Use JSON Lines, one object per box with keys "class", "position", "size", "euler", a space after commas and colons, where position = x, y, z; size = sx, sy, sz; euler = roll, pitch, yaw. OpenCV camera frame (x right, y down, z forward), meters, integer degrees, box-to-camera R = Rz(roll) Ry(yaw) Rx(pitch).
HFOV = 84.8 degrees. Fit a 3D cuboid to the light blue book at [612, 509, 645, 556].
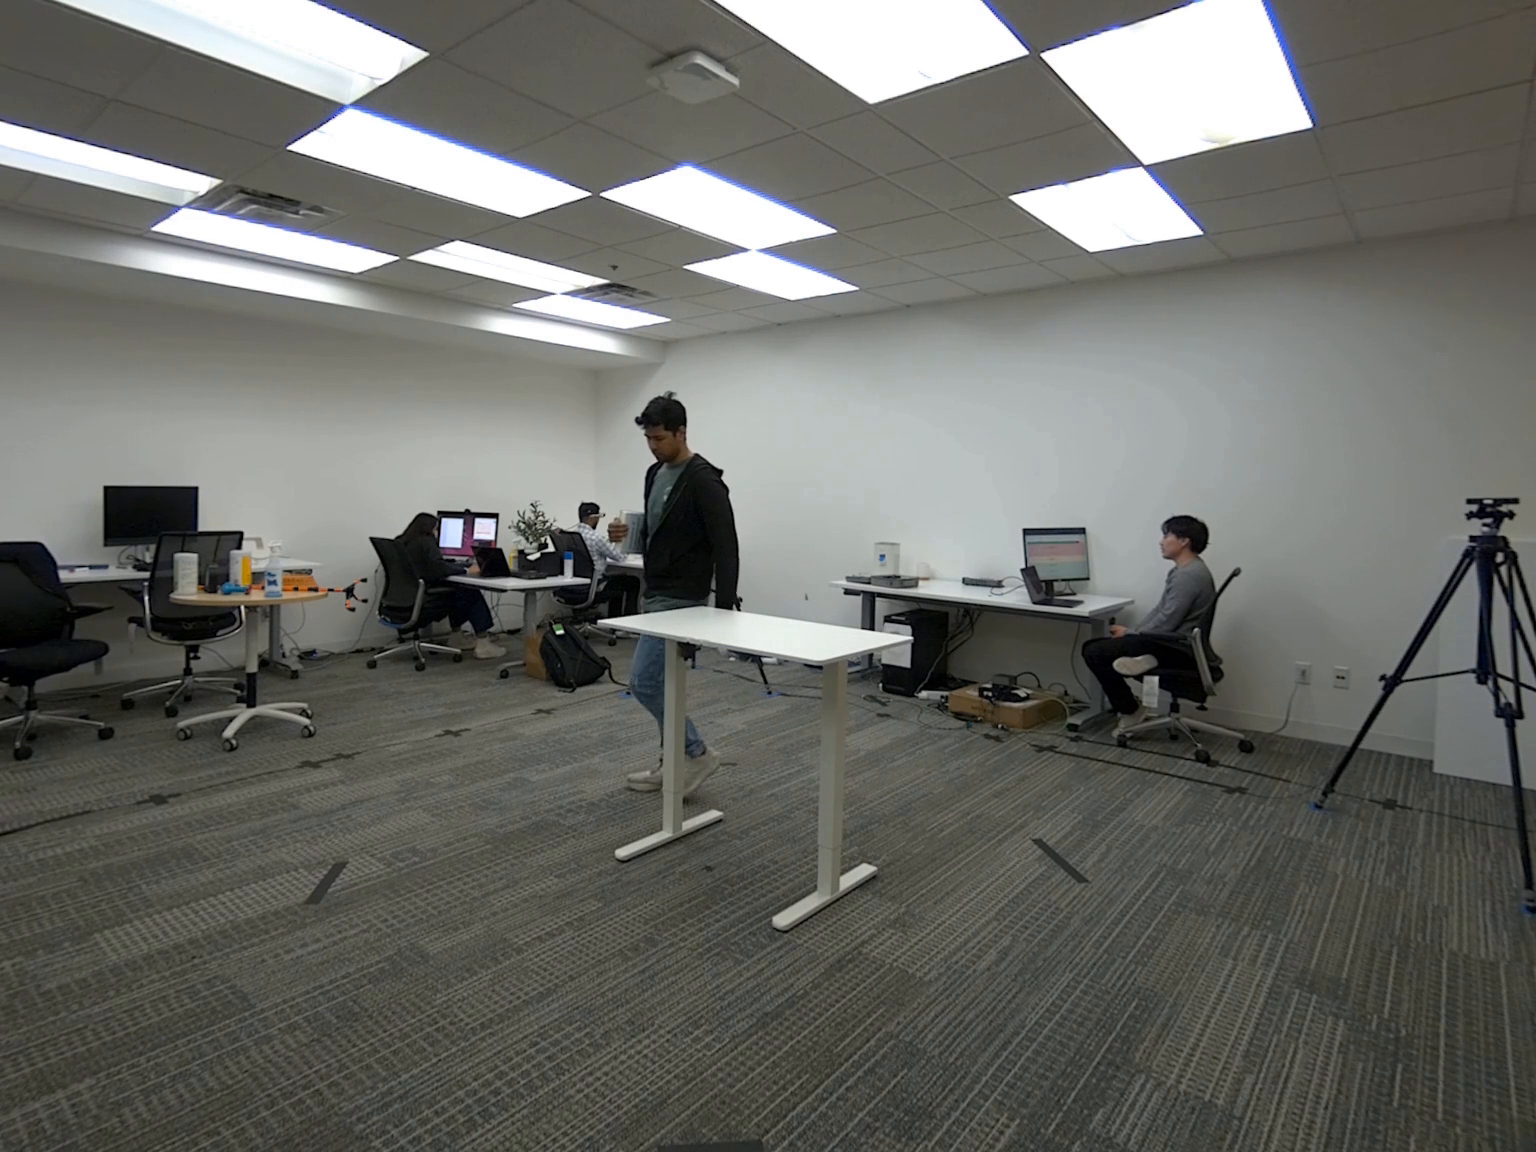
{"class": "light blue book", "position": [-0.565, -0.194, 3.852], "size": [0.252, 0.190, 0.061], "euler": [6, 15, -36]}
